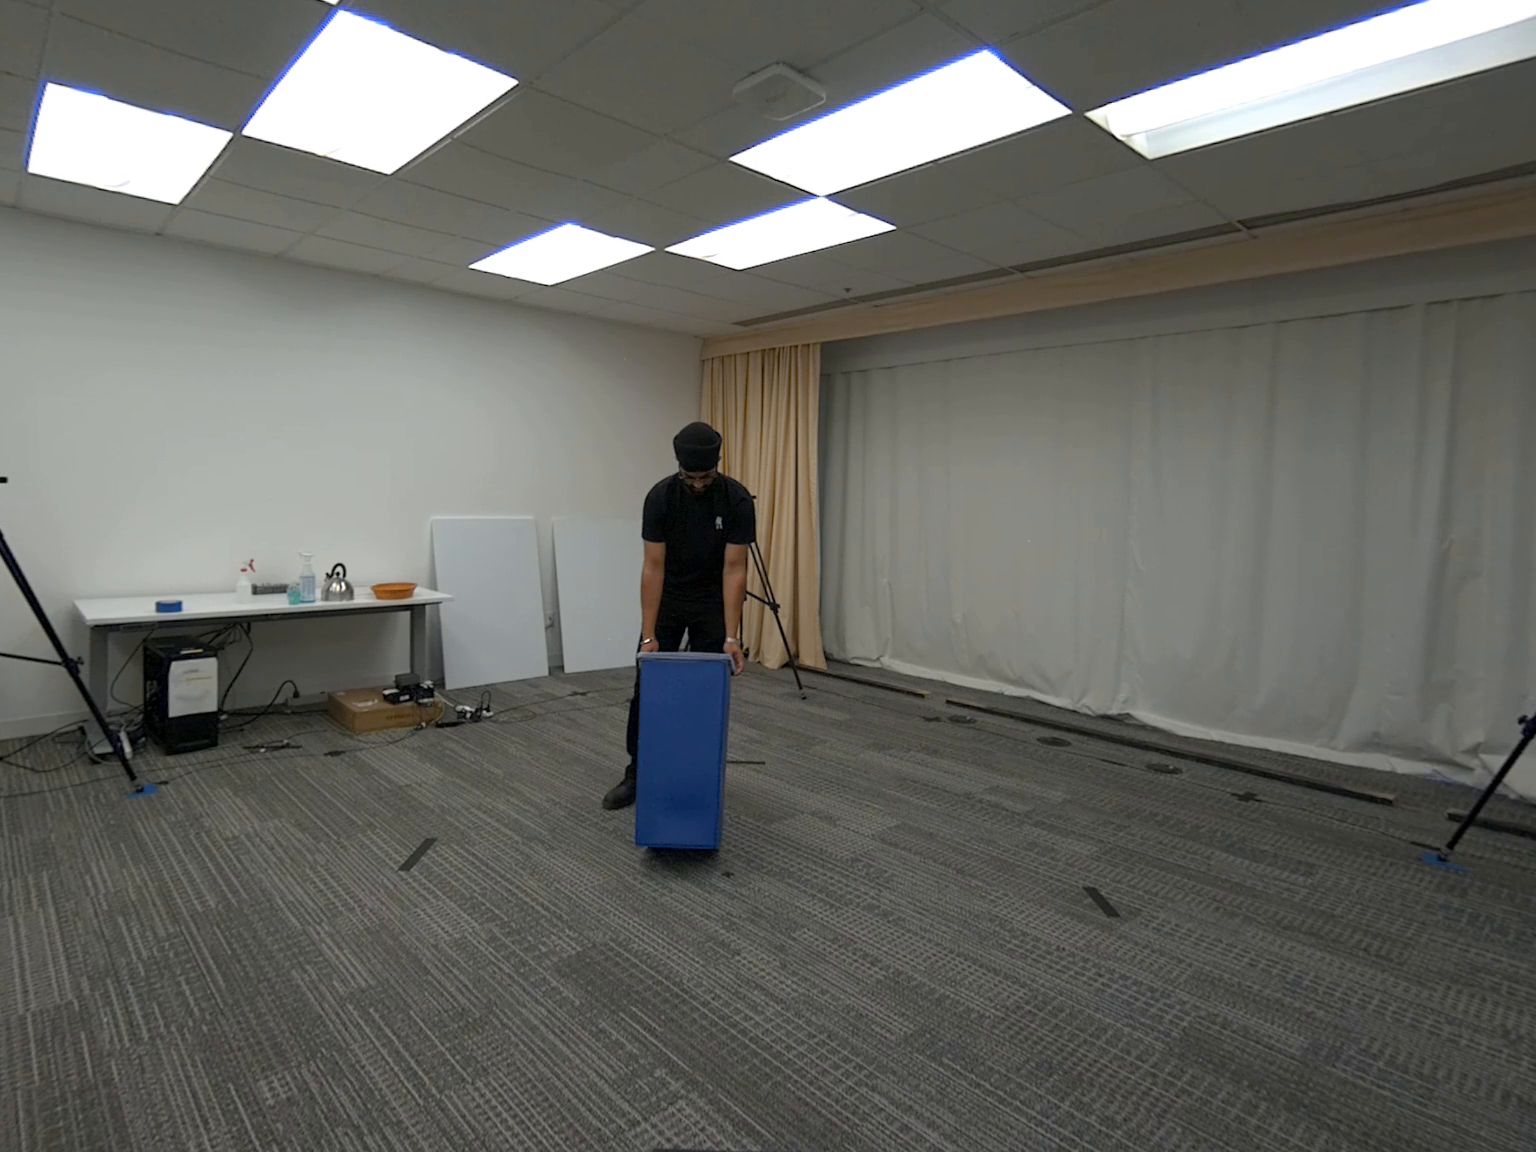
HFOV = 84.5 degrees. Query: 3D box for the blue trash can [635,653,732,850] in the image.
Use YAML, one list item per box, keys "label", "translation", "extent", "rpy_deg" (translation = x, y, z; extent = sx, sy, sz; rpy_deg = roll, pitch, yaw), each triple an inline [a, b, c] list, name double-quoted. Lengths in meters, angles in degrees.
- label: "blue trash can"
  translation: [-0.348, 0.694, 3.325]
  extent: [0.378, 0.722, 0.369]
  rpy_deg: [1, -16, 0]
